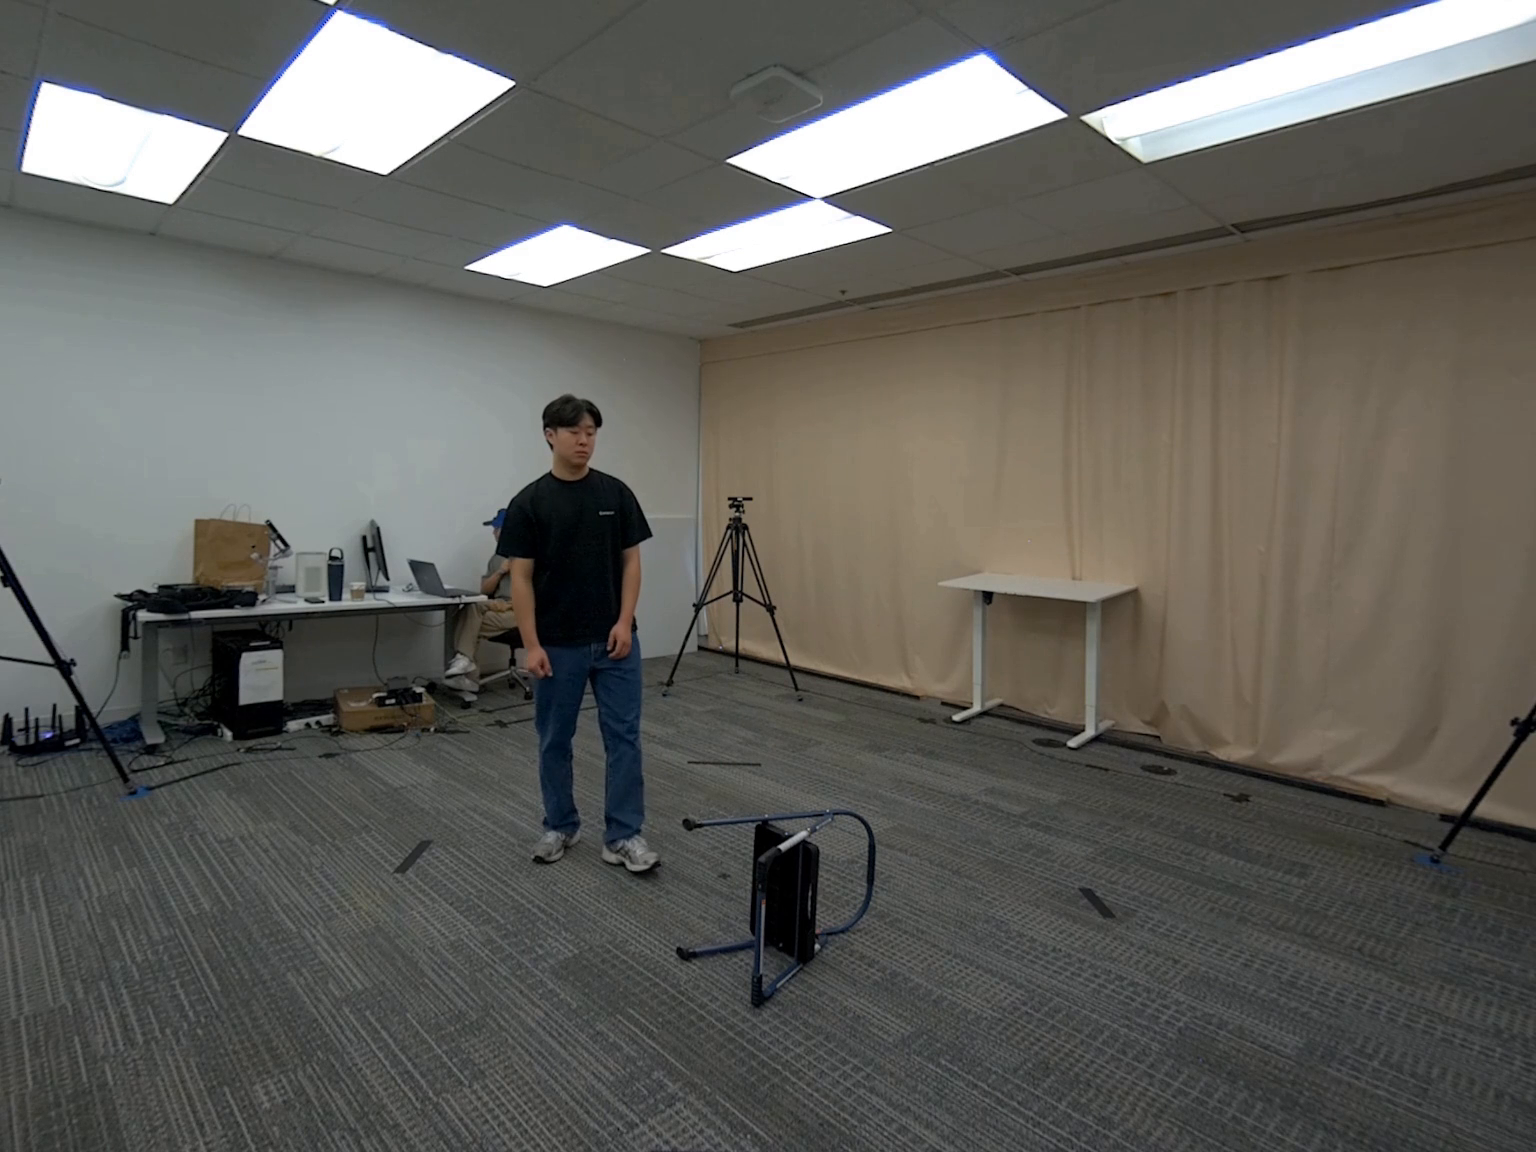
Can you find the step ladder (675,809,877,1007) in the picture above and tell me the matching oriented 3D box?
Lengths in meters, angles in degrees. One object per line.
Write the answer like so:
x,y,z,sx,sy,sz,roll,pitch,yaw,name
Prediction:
0.066,0.949,2.600,0.592,0.429,0.358,-2,7,-43,step ladder
